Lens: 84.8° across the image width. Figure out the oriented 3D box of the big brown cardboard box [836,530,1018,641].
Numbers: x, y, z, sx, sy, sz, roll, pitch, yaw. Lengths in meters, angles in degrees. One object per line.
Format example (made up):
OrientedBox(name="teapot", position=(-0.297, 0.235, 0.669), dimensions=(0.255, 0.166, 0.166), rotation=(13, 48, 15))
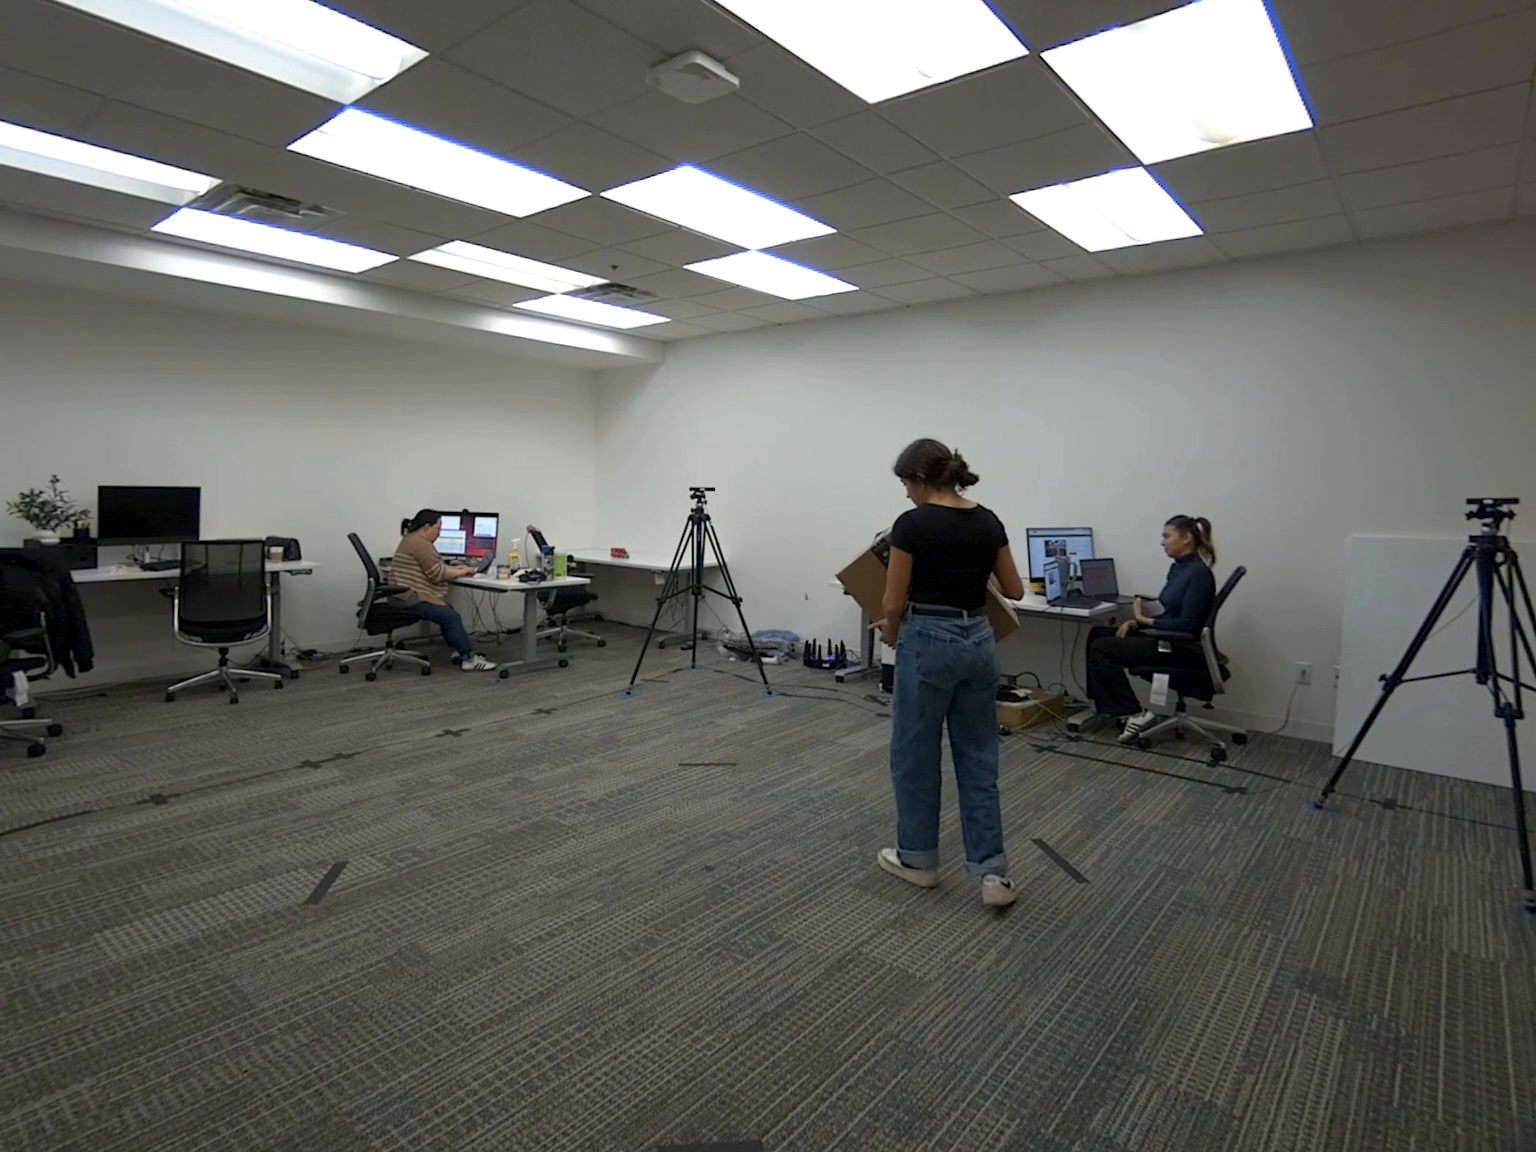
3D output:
OrientedBox(name="big brown cardboard box", position=(0.591, 0.069, 3.267), dimensions=(0.419, 0.593, 0.231), rotation=(-40, -4, 16))
